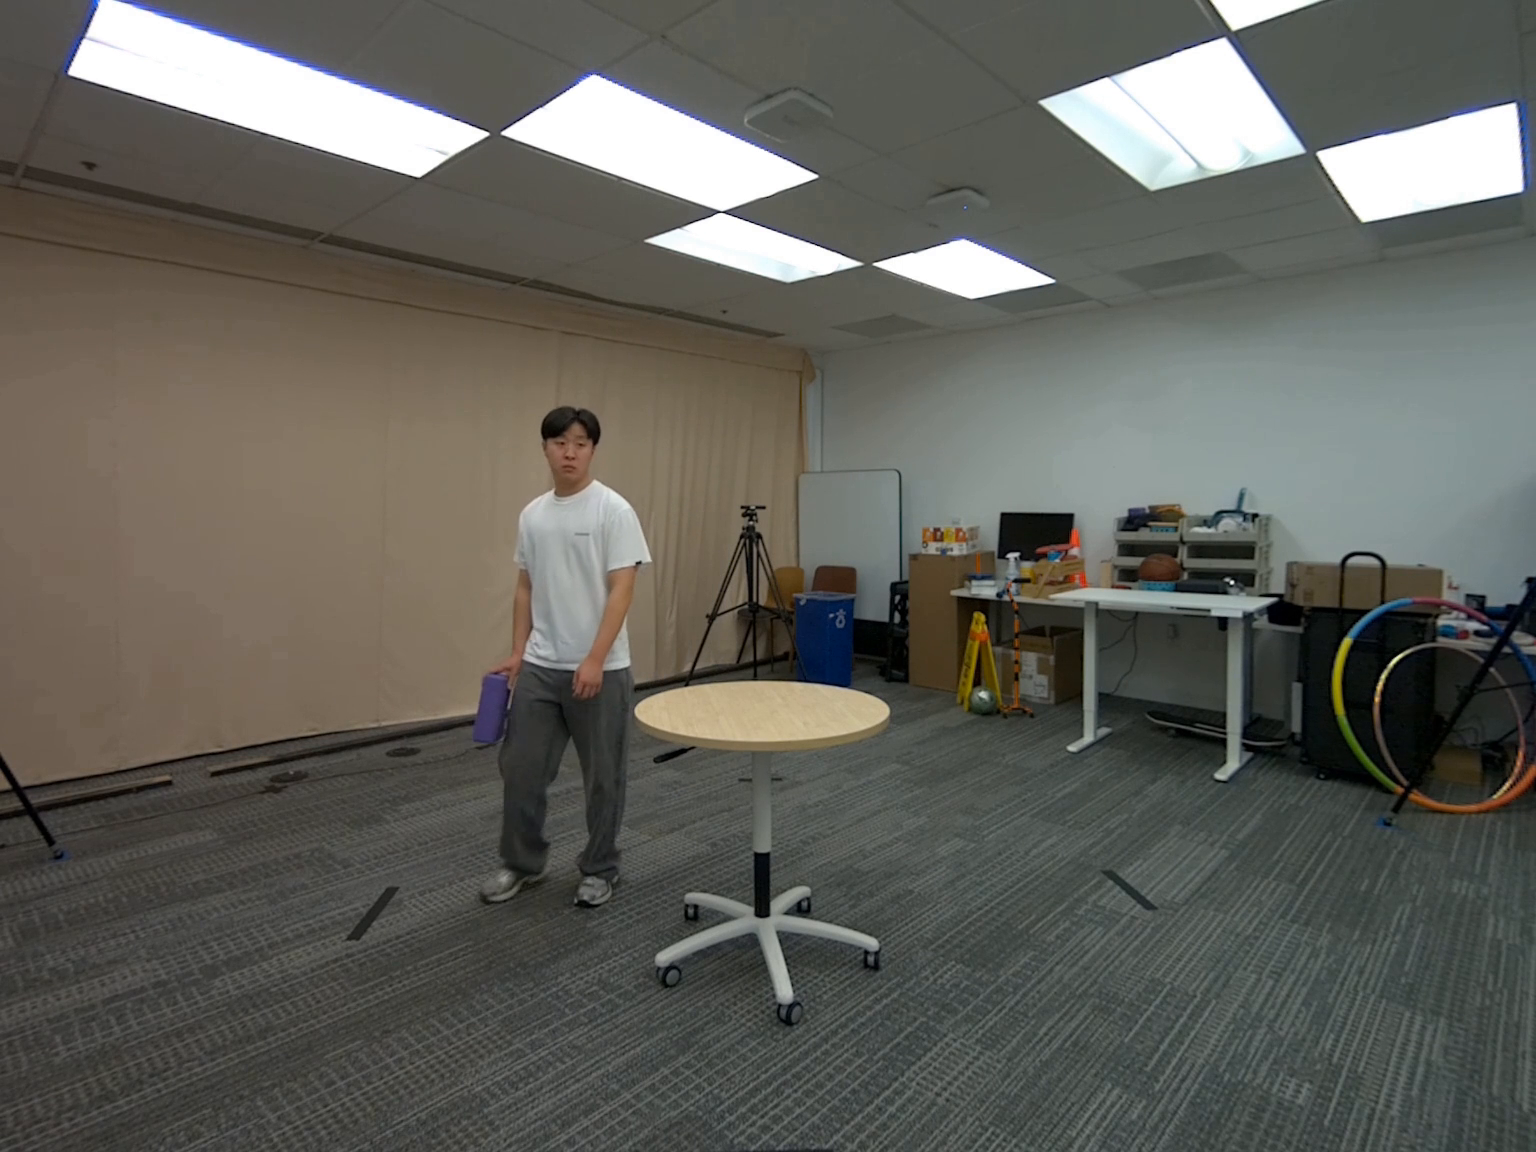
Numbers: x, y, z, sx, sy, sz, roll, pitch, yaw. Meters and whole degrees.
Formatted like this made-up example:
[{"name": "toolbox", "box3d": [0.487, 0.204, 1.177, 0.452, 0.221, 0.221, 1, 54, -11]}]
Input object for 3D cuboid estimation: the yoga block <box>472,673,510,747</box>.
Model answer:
[{"name": "yoga block", "box3d": [-0.964, 0.471, 2.953, 0.076, 0.230, 0.149, 10, -8, -5]}]
